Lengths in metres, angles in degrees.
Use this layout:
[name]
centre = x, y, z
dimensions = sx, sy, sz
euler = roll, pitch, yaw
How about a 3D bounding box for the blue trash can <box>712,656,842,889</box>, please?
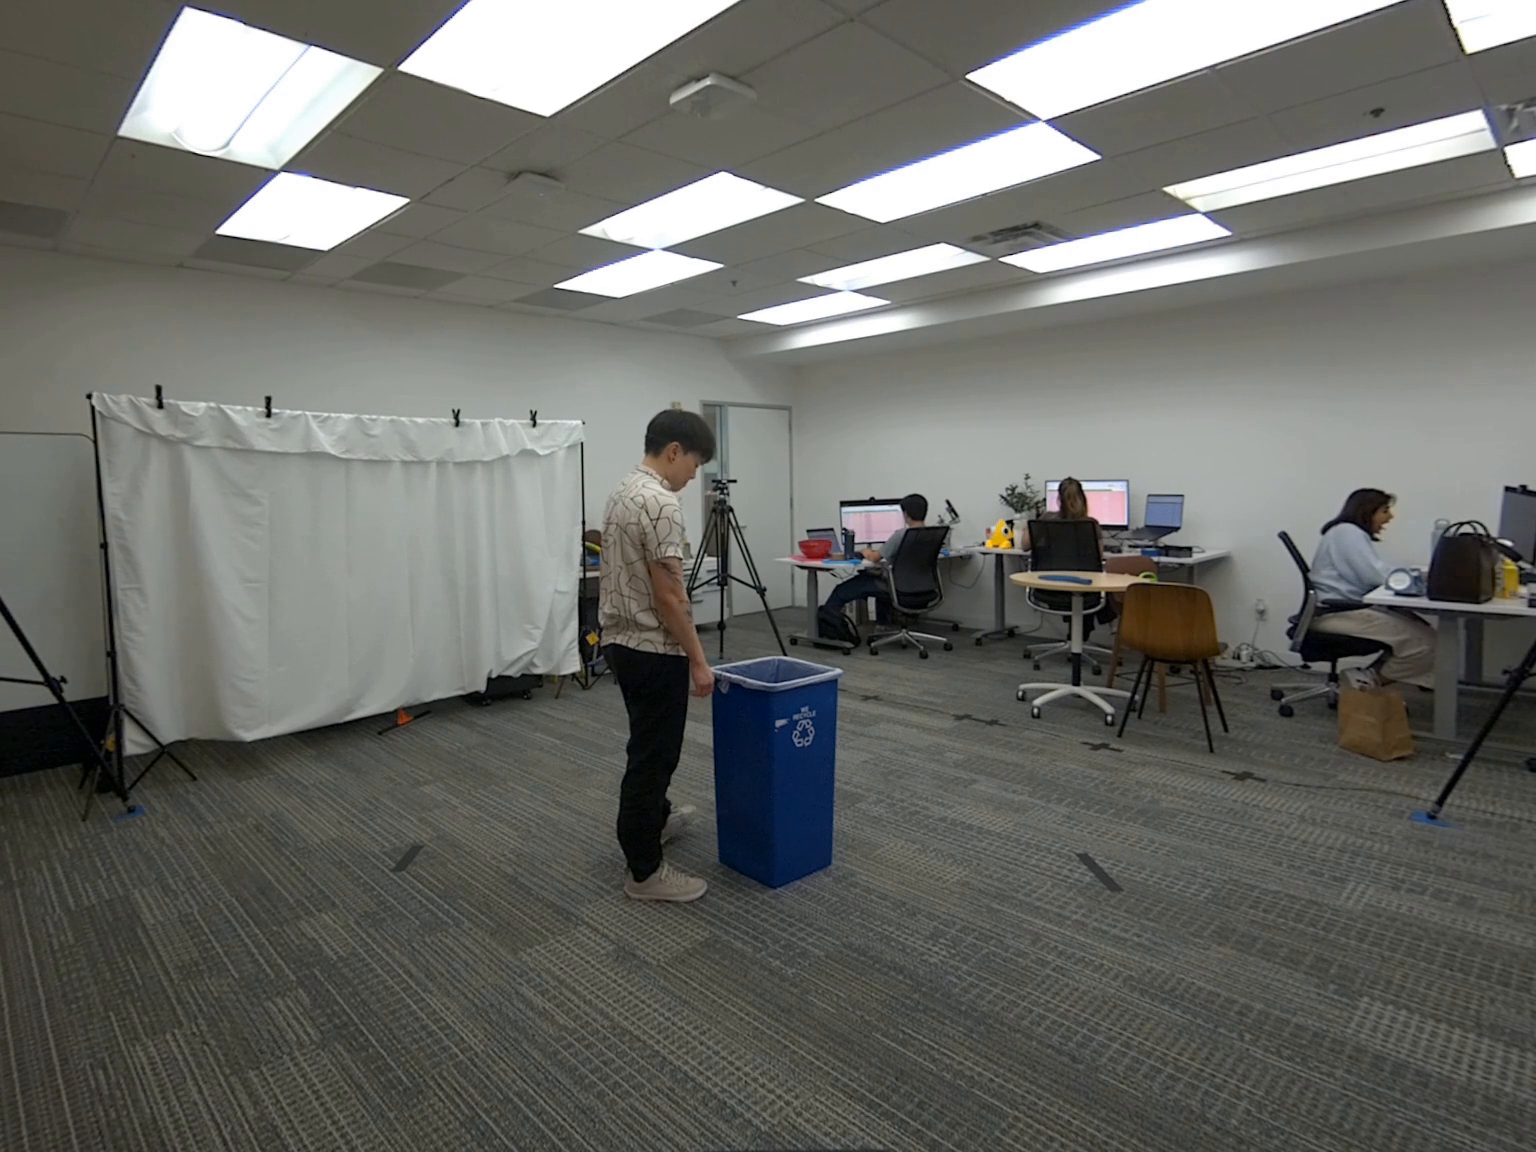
[blue trash can]
centre = 0.037, 0.692, 3.092
dimensions = 0.368, 0.711, 0.385
euler = -4, 5, -43
